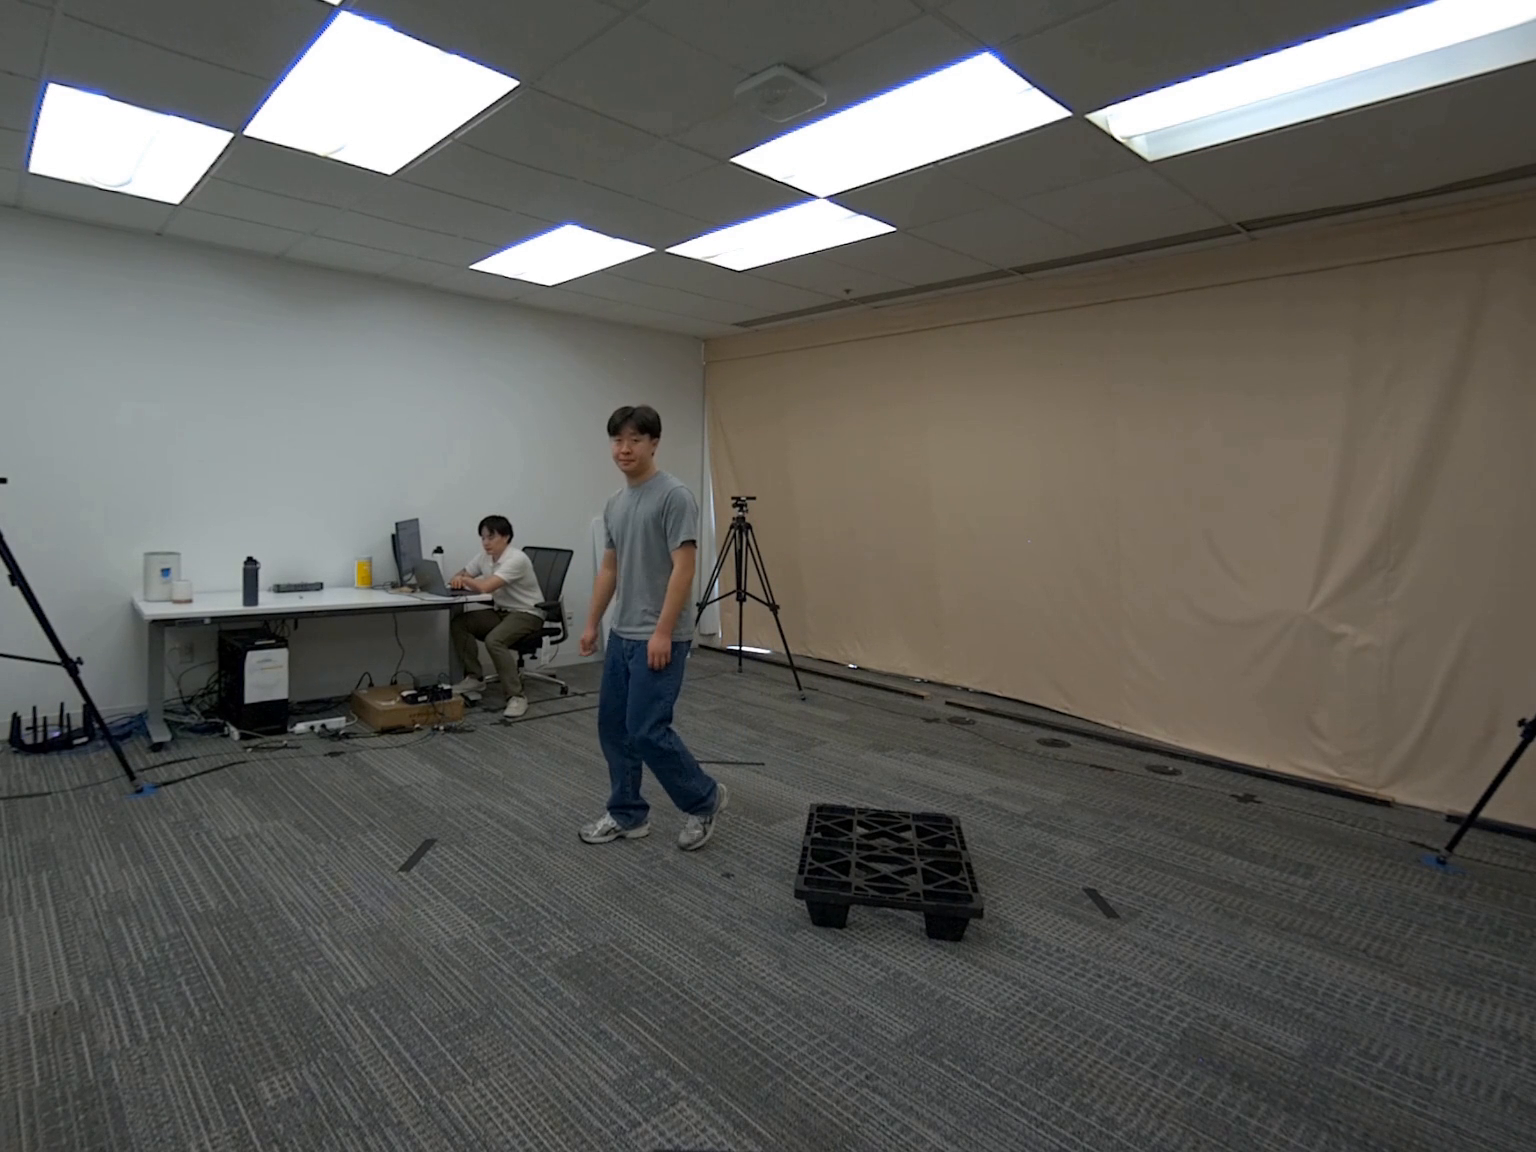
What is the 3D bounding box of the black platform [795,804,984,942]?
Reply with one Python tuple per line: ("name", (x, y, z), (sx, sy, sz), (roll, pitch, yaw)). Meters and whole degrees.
("black platform", (0.412, 1.053, 3.059), (0.610, 0.143, 0.802), (2, 5, 8))
